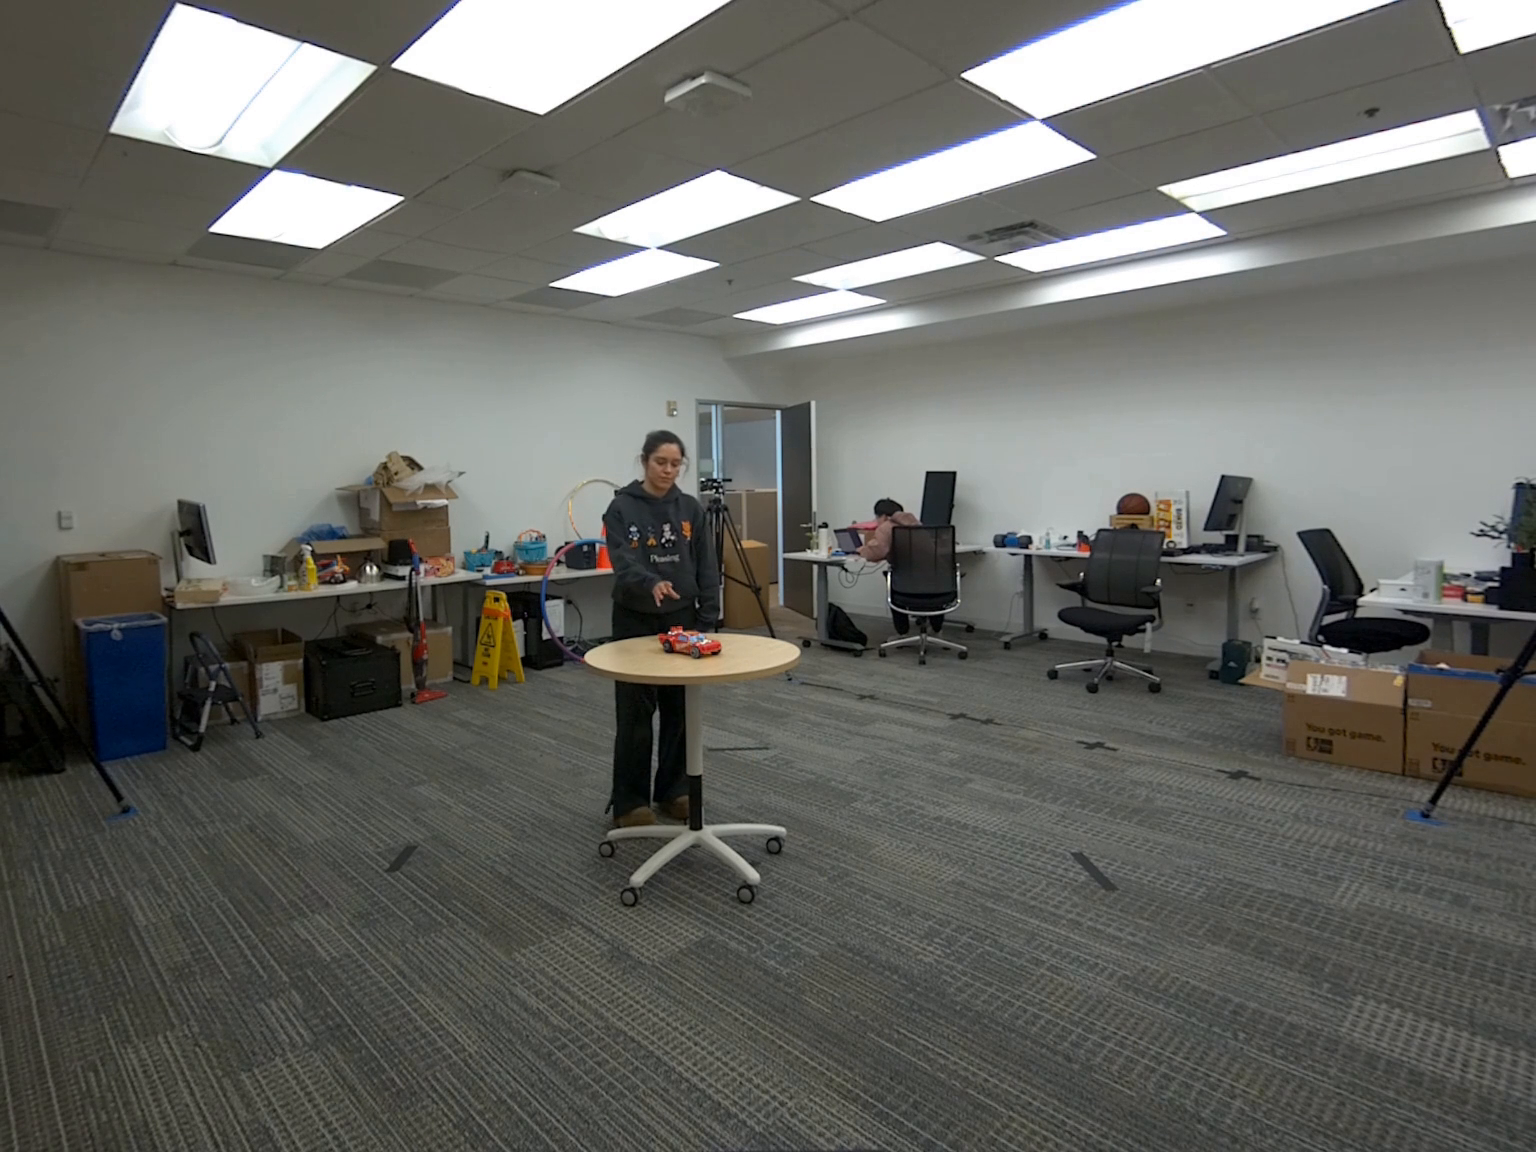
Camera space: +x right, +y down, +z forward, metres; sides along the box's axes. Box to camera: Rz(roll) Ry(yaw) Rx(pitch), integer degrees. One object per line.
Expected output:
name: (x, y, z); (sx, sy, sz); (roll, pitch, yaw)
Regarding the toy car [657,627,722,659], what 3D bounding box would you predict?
toy car: (-0.290, 0.246, 3.030); (0.127, 0.082, 0.264); (-6, 18, -45)
